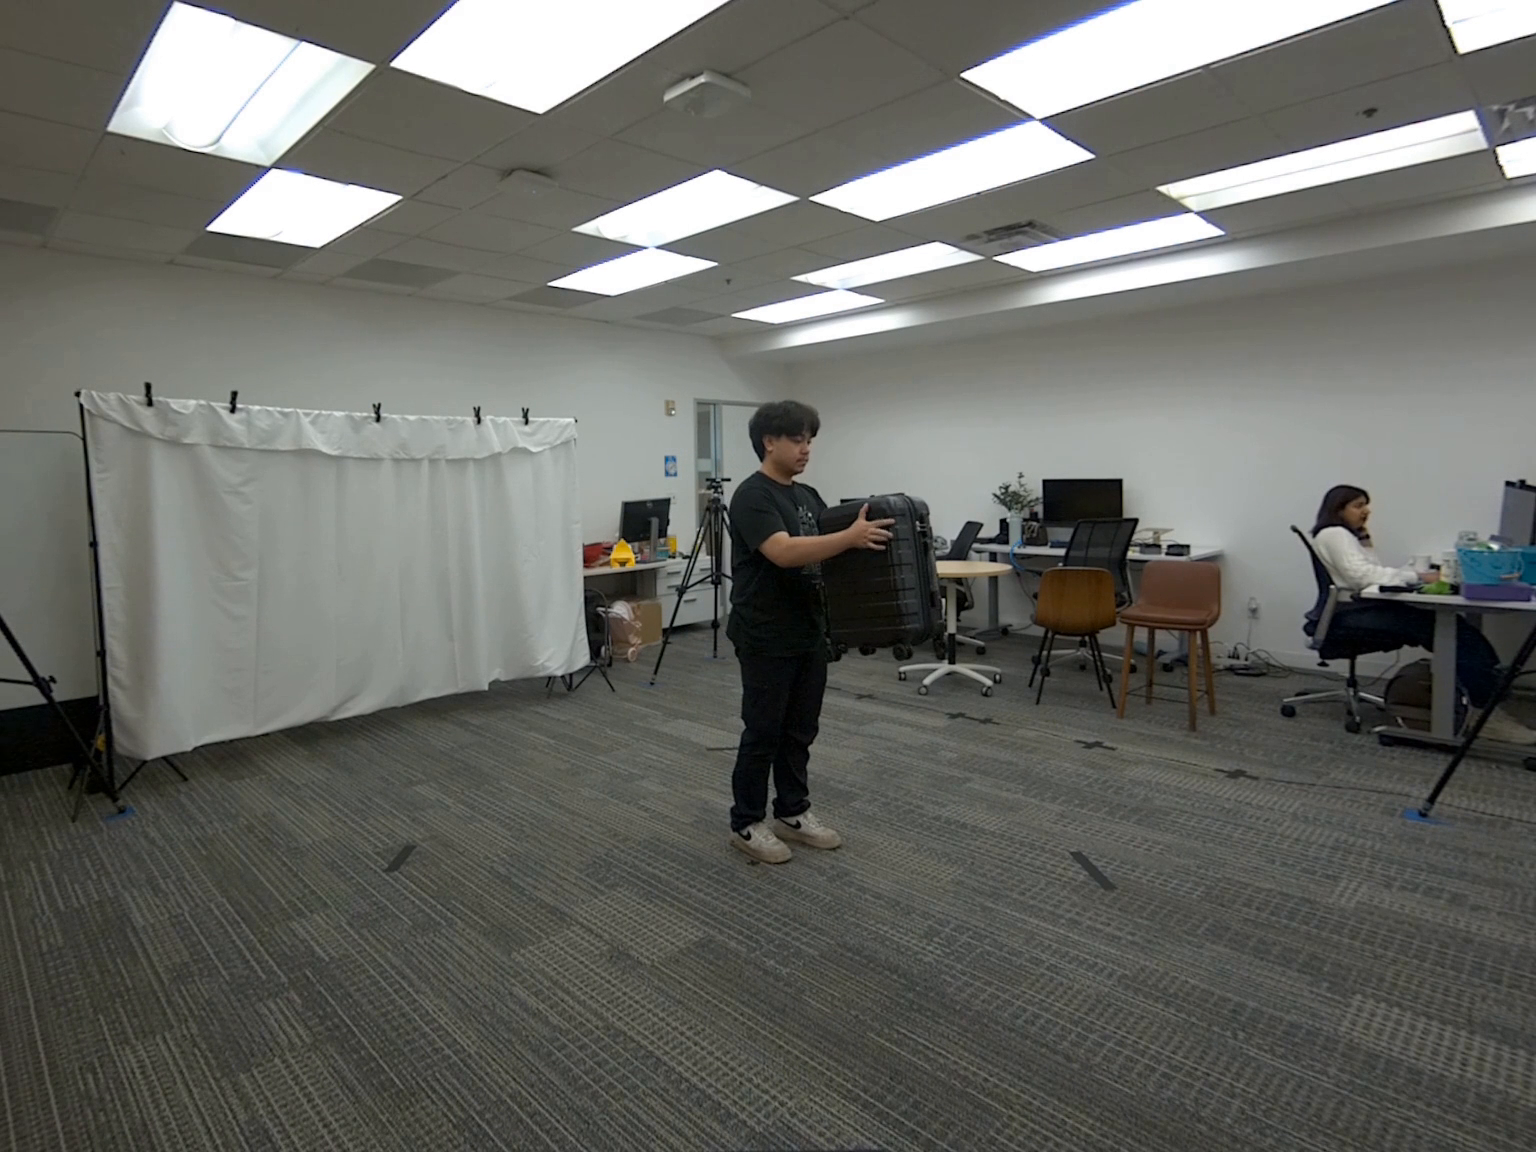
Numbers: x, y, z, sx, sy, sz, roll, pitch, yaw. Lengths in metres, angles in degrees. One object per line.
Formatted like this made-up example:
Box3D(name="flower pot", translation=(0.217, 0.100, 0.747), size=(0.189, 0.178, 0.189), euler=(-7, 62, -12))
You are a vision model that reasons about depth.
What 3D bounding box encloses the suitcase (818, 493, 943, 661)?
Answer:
Box3D(name="suitcase", translation=(0.386, 0.003, 2.922), size=(0.241, 0.551, 0.385), euler=(-2, -4, -44))
